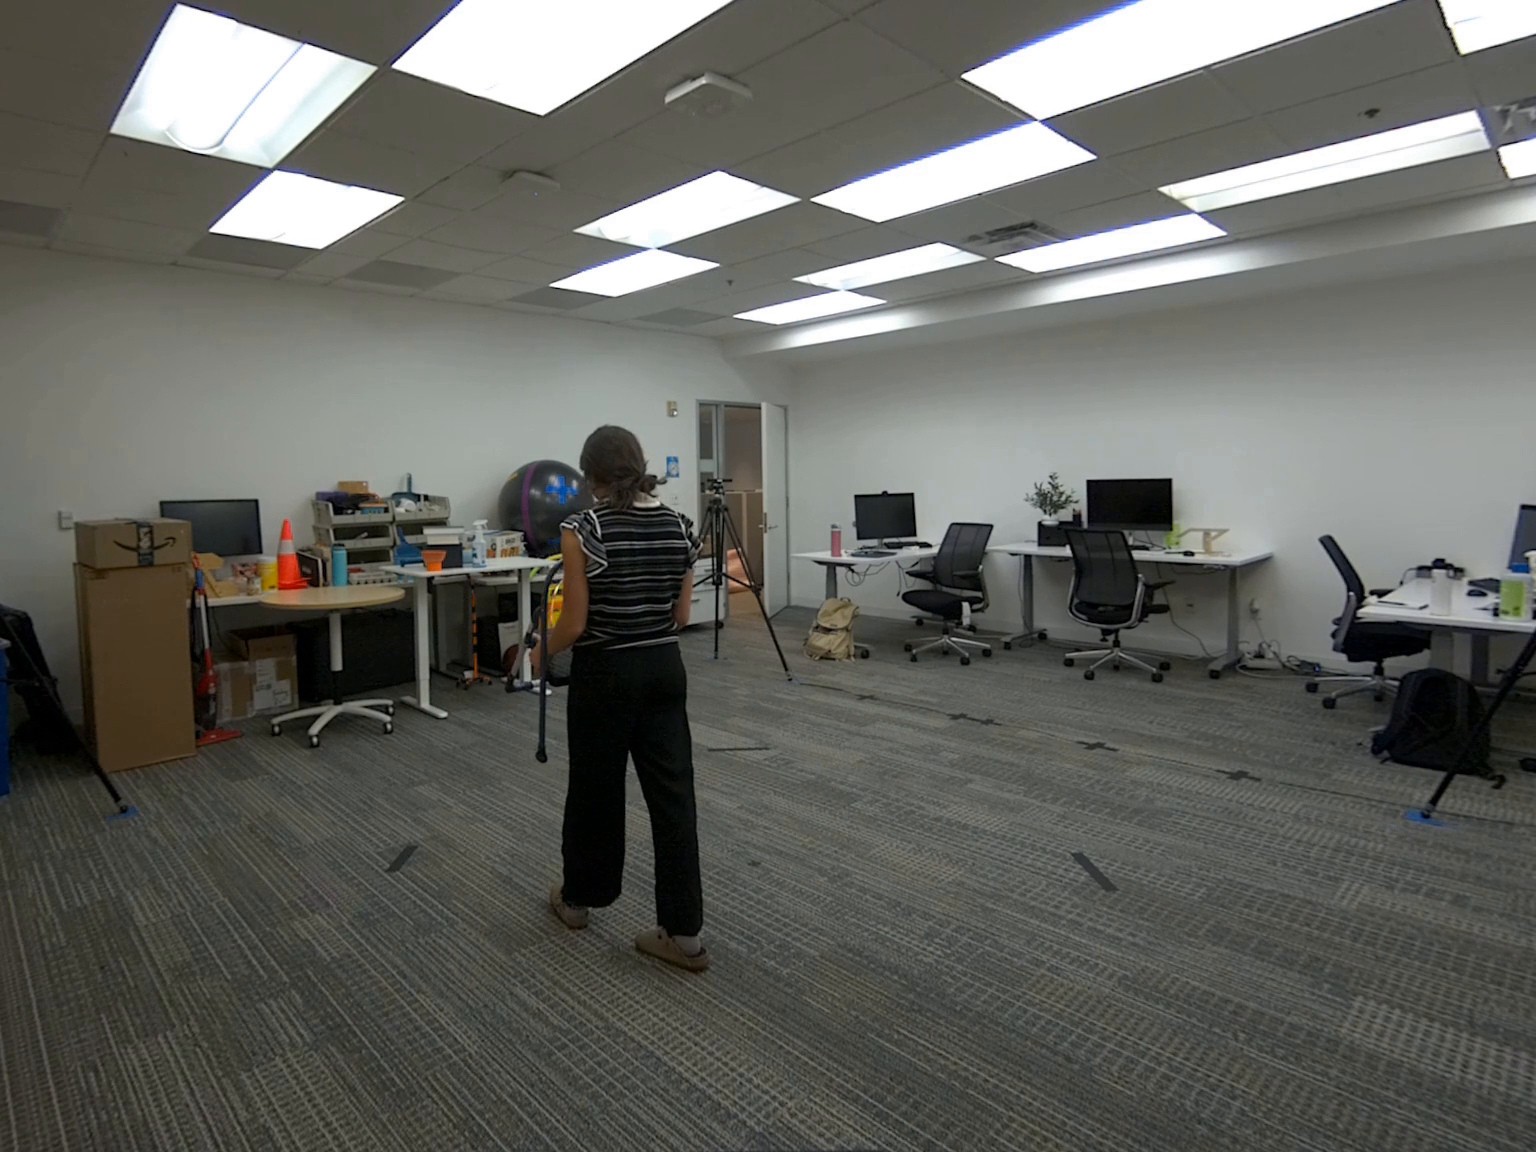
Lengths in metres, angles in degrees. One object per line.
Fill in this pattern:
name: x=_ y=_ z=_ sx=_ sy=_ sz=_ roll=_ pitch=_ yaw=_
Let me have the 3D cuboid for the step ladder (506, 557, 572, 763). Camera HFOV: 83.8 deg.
step ladder: x=-0.550 y=0.205 z=2.741 sx=0.419 sy=0.598 sz=0.363 roll=-5 pitch=35 yaw=-38
